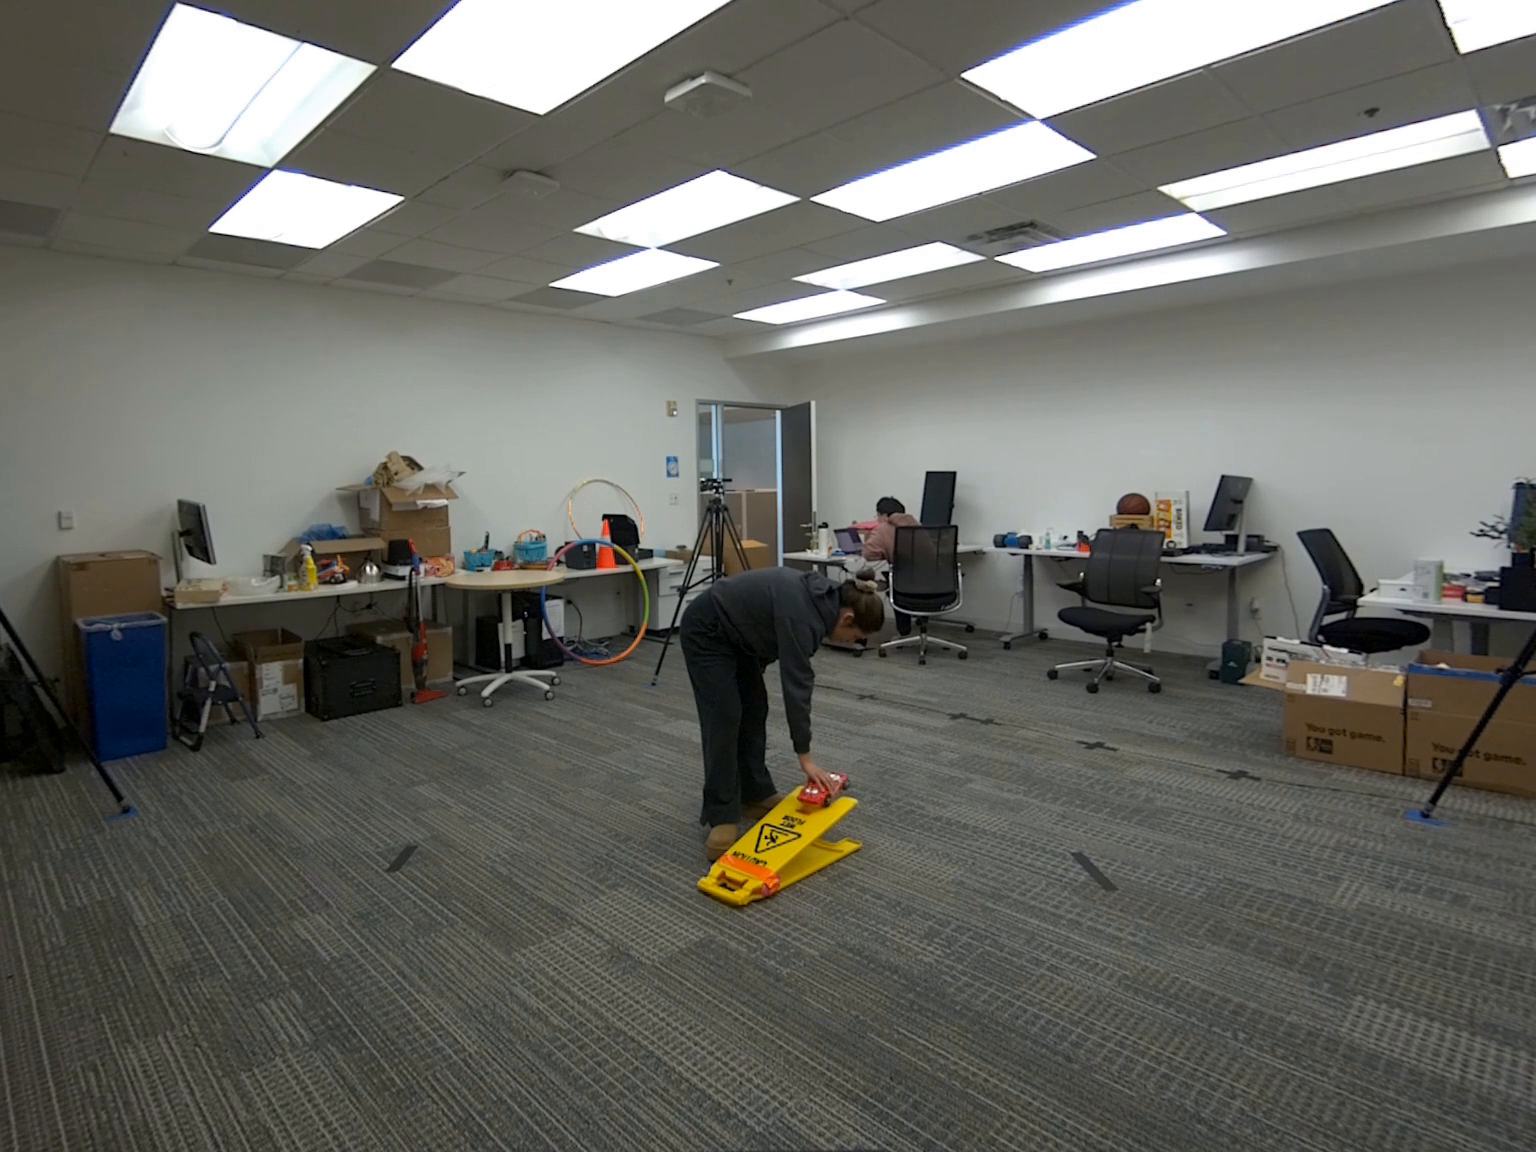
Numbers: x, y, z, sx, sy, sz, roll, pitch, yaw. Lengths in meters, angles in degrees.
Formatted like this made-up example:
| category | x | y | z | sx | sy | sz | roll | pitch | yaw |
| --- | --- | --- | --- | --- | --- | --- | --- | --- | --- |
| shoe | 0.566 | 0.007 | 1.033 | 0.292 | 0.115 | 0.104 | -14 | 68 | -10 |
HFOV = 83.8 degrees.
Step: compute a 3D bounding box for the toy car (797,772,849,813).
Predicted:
| category | x | y | z | sx | sy | sz | roll | pitch | yaw |
| --- | --- | --- | --- | --- | --- | --- | --- | --- | --- |
| toy car | 0.215 | 0.817 | 3.229 | 0.134 | 0.083 | 0.248 | 0 | 4 | 38 |
